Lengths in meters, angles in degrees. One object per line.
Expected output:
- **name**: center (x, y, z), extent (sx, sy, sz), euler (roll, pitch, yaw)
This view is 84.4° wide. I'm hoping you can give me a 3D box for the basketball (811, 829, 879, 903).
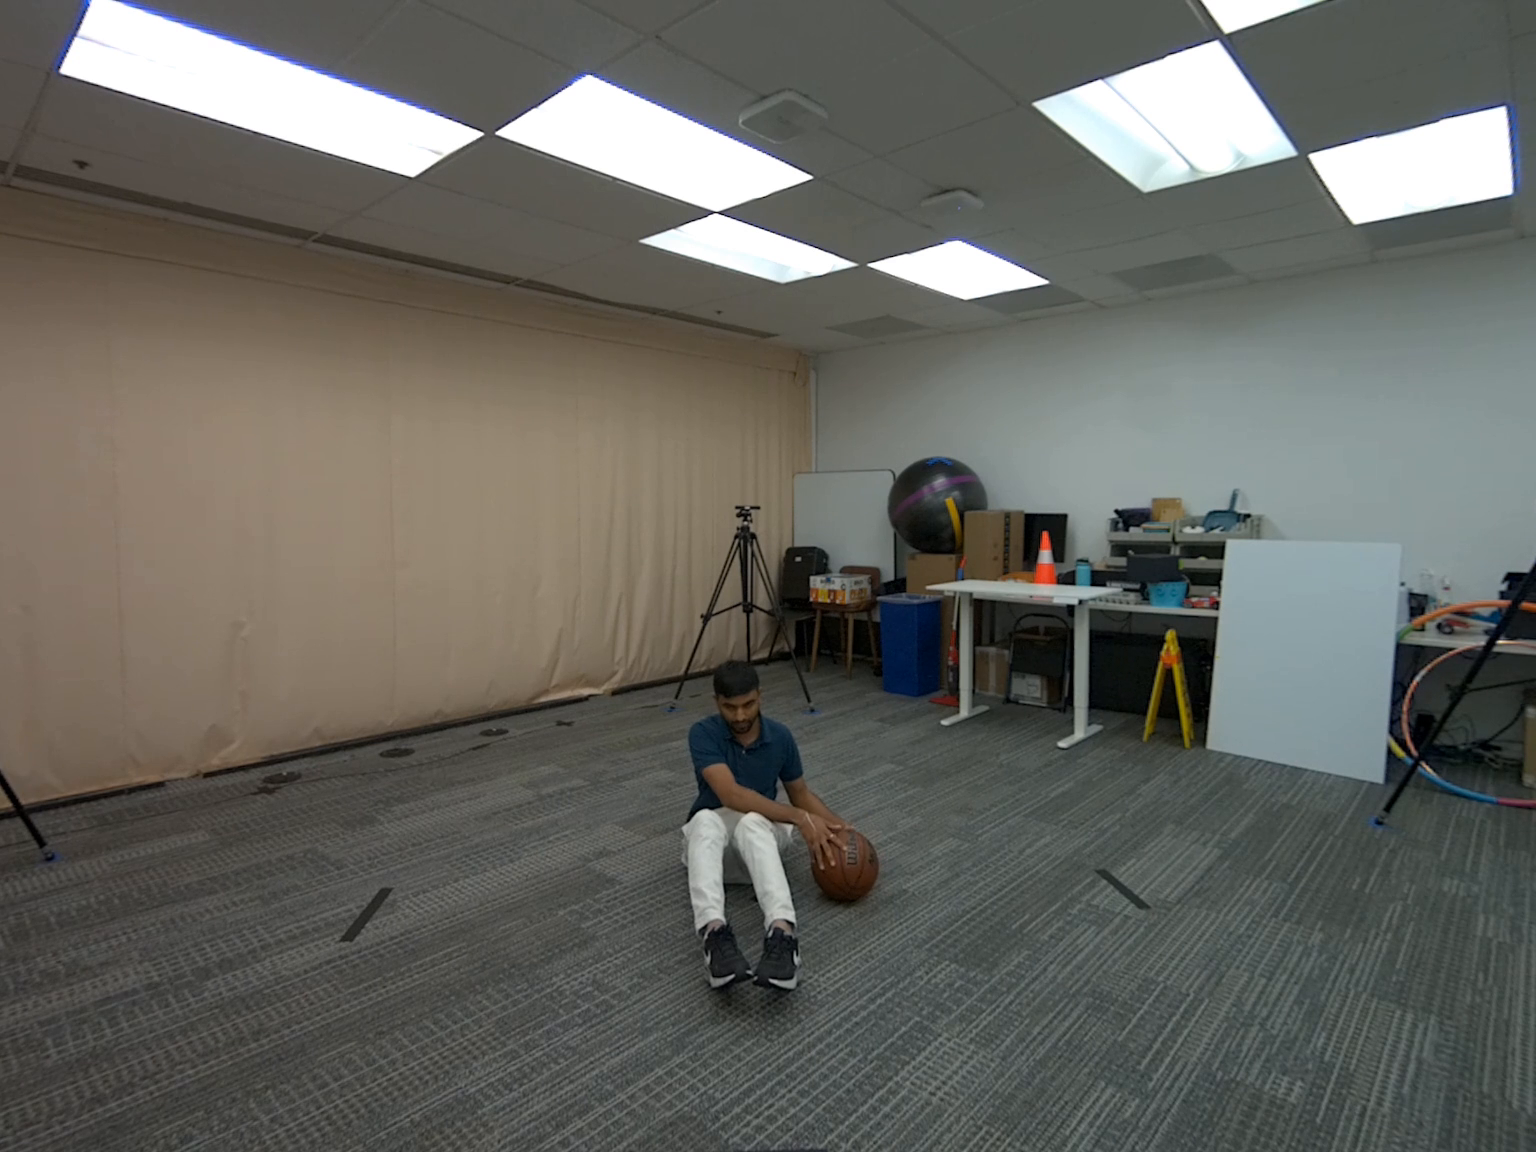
- **basketball**: center (0.277, 1.016, 2.977), extent (0.236, 0.235, 0.237), euler (0, 4, -2)
